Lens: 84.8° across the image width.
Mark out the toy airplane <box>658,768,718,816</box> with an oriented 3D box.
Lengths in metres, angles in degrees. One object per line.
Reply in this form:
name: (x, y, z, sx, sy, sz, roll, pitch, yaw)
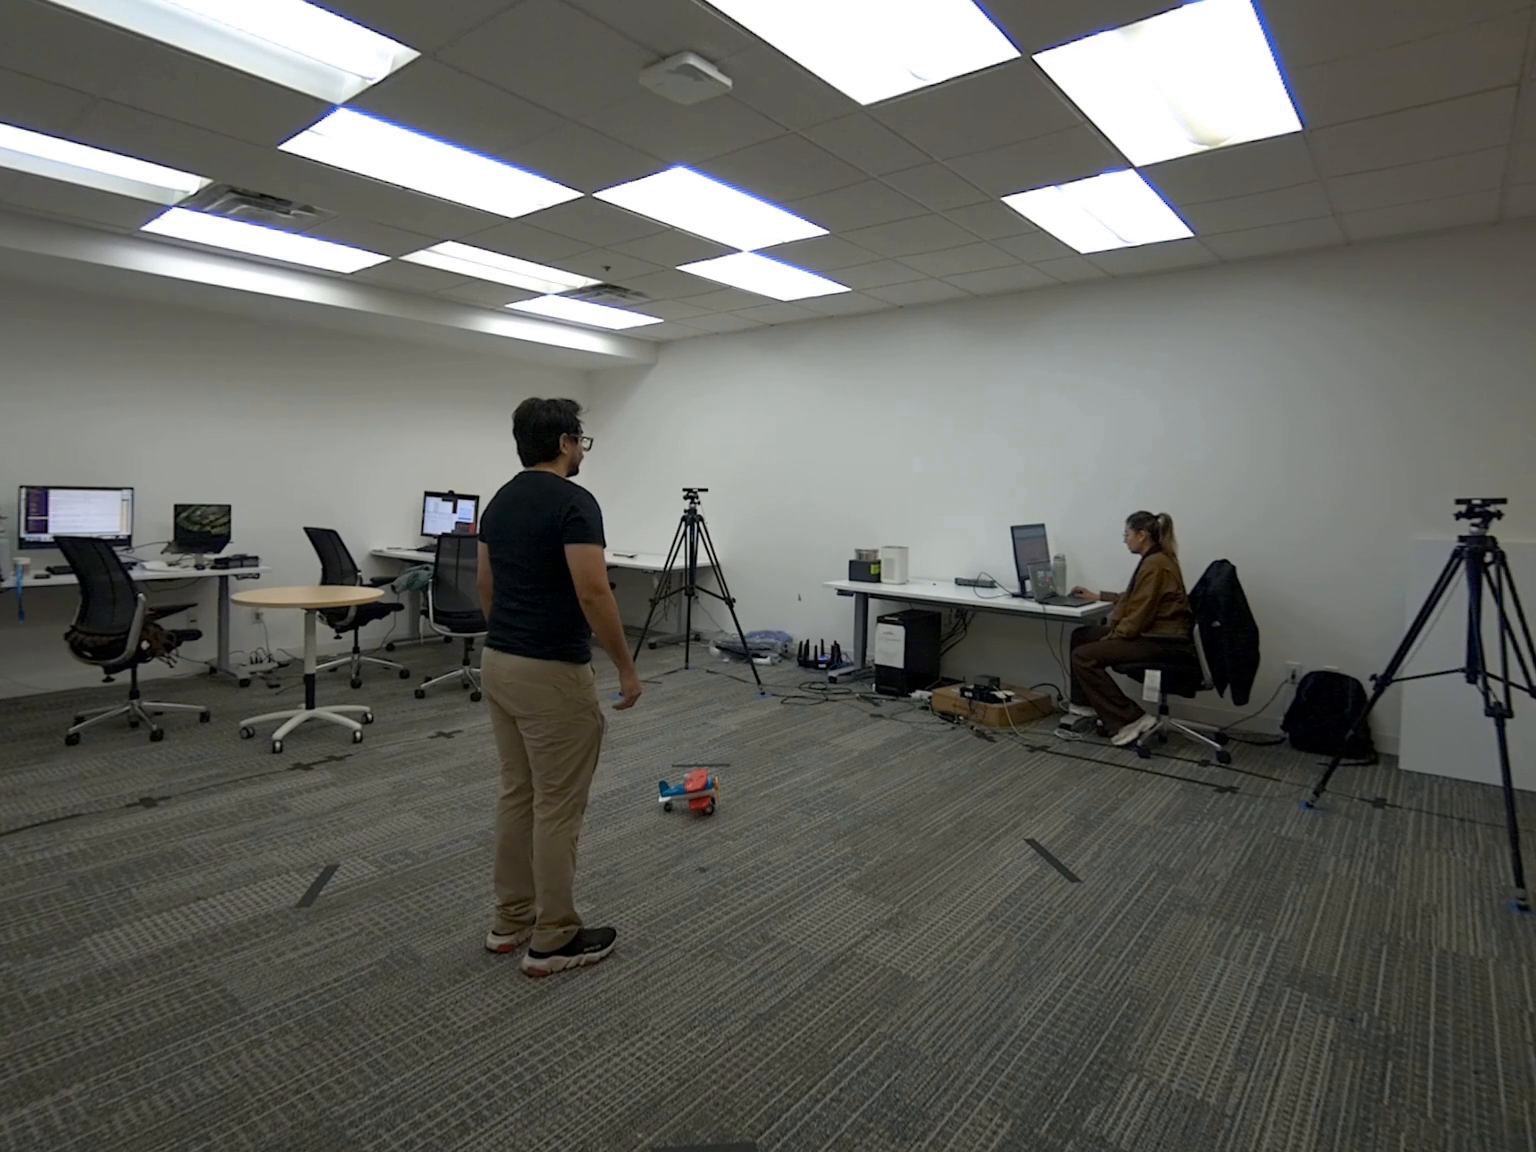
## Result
toy airplane: (-0.346, 0.940, 3.659, 0.252, 0.156, 0.258, 1, 4, -29)
